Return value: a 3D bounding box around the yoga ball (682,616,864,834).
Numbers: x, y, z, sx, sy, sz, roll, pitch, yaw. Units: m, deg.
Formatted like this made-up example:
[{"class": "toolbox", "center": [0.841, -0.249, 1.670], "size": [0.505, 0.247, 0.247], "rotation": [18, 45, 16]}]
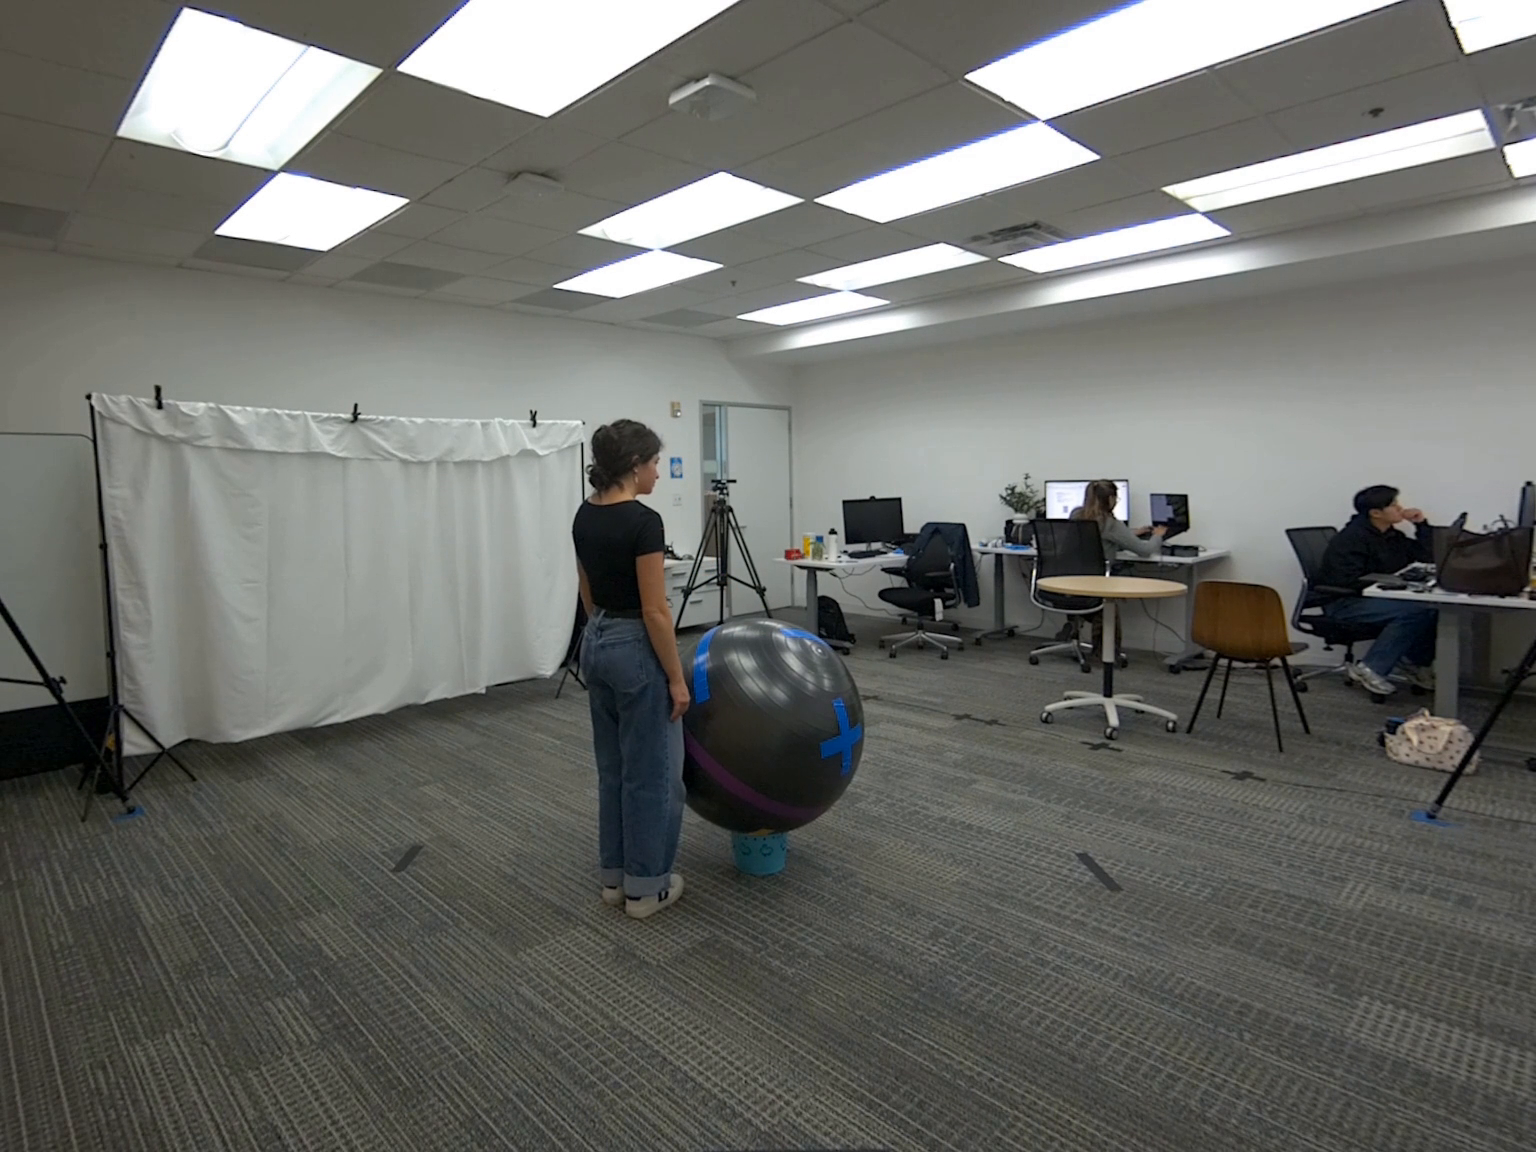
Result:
[{"class": "yoga ball", "center": [-0.032, 0.537, 3.087], "size": [0.757, 0.755, 0.762], "rotation": [-1, 5, -2]}]
